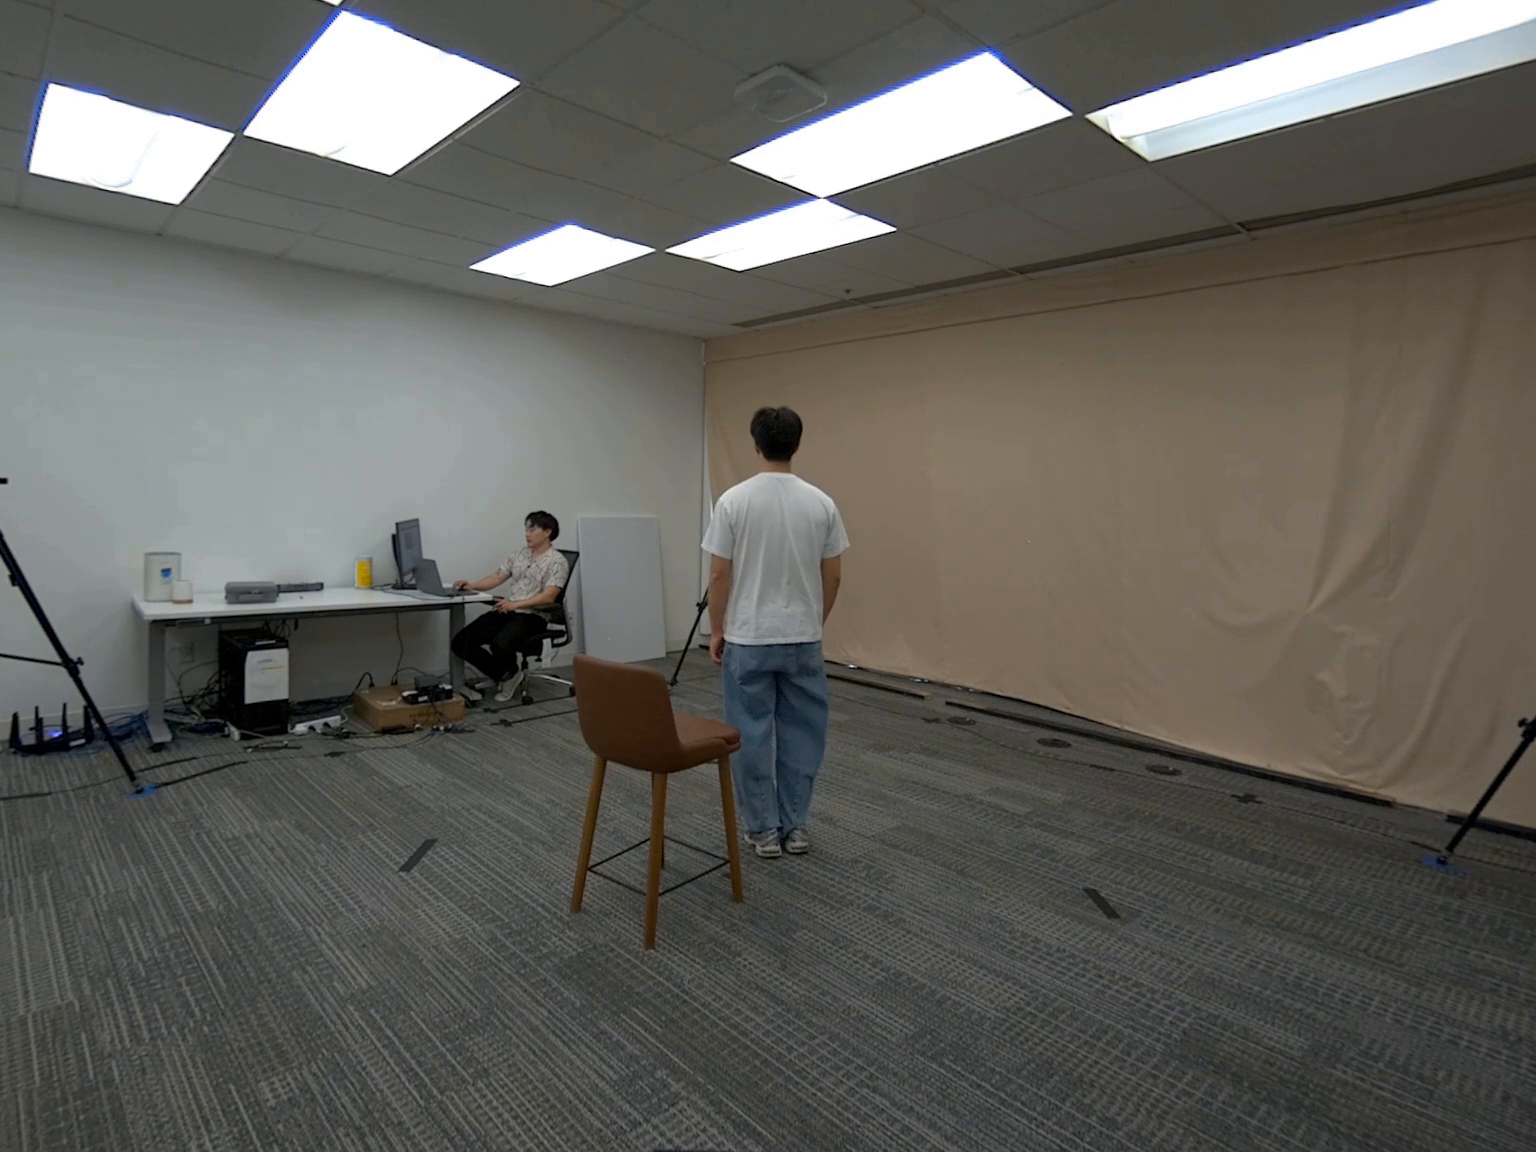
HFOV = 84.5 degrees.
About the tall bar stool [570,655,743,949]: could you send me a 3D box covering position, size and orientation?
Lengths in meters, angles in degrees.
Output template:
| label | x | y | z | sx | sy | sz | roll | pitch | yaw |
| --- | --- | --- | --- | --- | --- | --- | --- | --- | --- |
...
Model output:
| label | x | y | z | sx | sy | sz | roll | pitch | yaw |
| --- | --- | --- | --- | --- | --- | --- | --- | --- | --- |
| tall bar stool | -0.382 | 0.688 | 2.845 | 0.468 | 0.886 | 0.458 | 4 | 6 | 38 |
